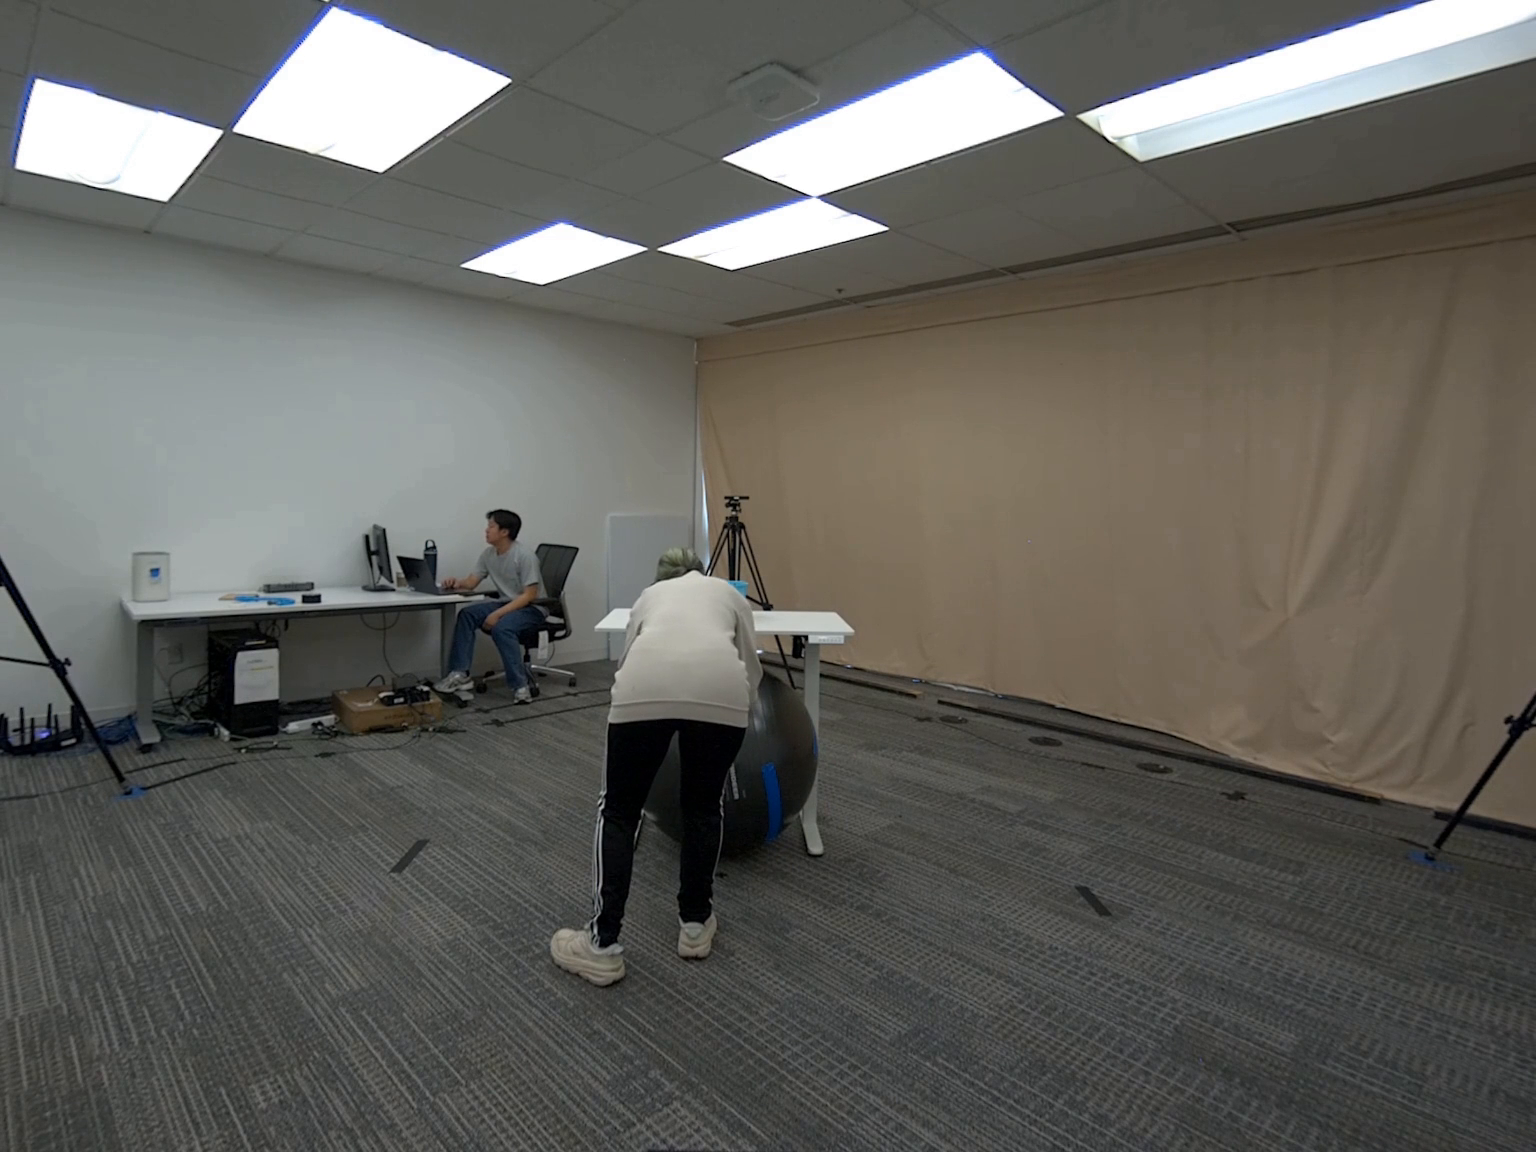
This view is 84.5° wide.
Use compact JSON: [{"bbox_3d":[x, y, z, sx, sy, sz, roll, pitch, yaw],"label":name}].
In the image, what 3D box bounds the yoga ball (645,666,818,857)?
[{"bbox_3d":[-0.181,0.711,3.356,0.757,0.756,0.761,1,4,-1],"label":"yoga ball"}]
